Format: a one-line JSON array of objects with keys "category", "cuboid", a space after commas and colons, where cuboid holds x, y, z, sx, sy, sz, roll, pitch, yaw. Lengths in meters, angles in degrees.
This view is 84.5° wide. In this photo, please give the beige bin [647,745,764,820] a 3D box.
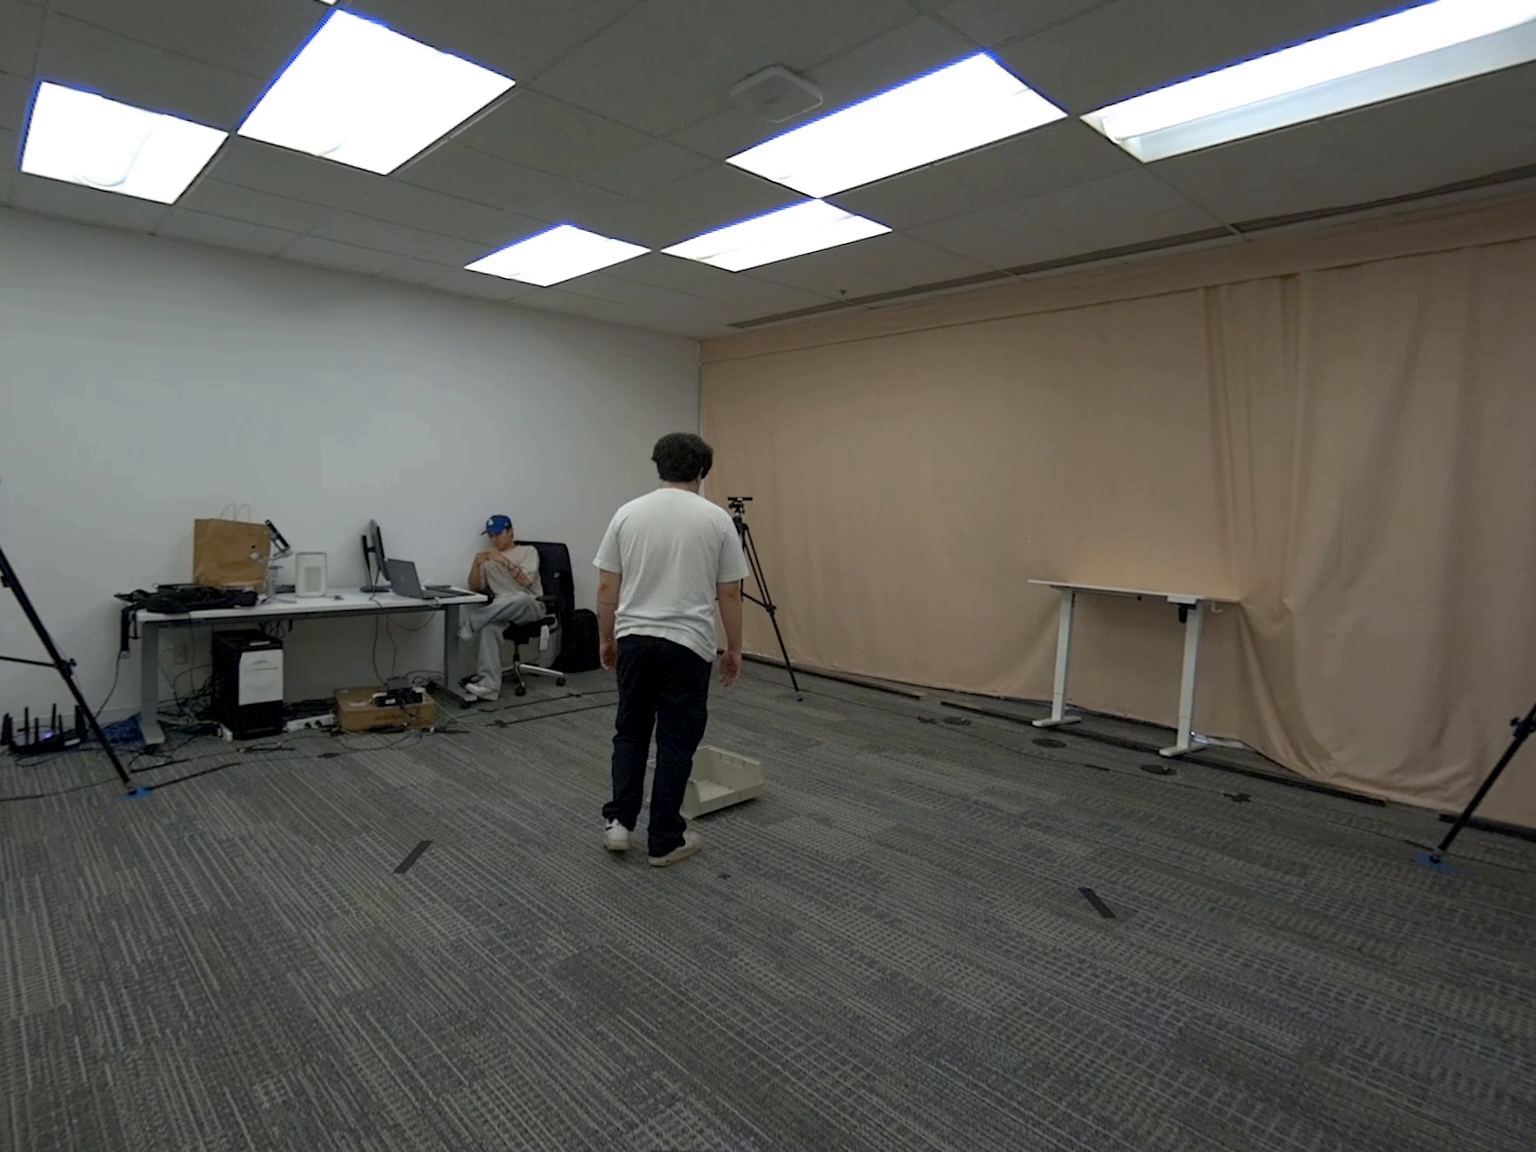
[{"category": "beige bin", "cuboid": [-0.305, 0.952, 3.884, 0.387, 0.188, 0.413, 5, 7, 43]}]
